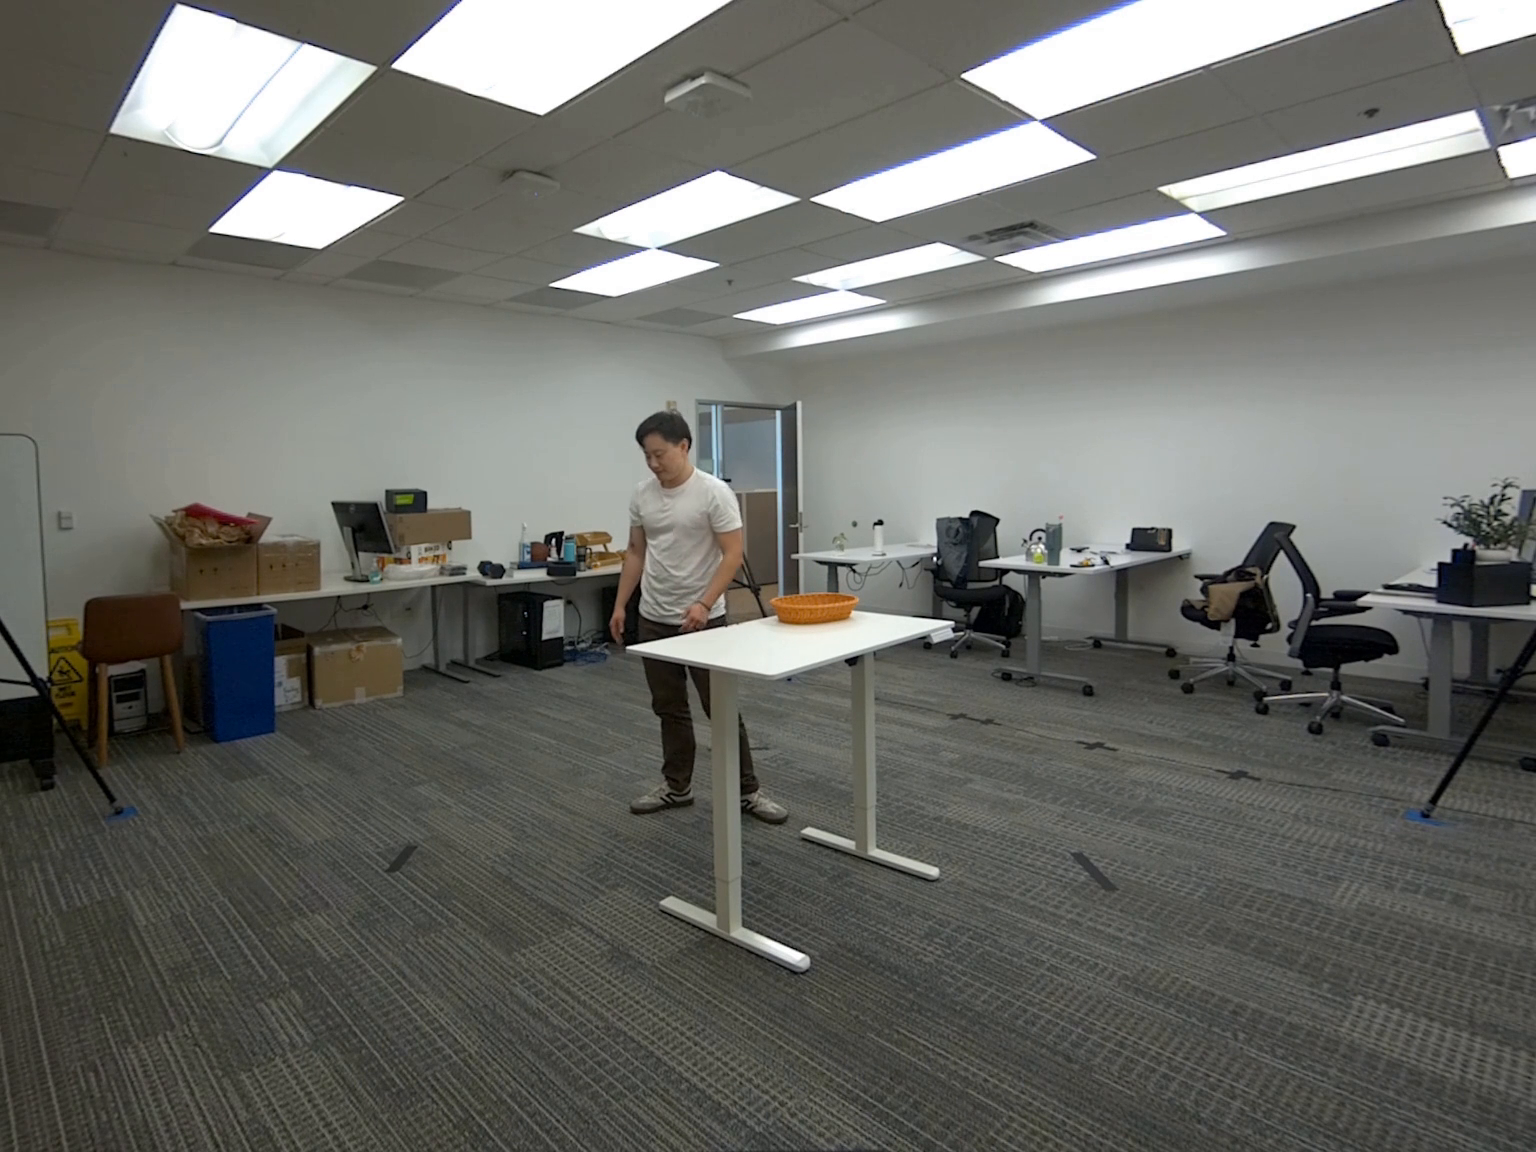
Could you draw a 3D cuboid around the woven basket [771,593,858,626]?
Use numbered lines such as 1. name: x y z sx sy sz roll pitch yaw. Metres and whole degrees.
1. woven basket: 0.186 0.125 3.104 0.342 0.073 0.260 -5 8 -33
